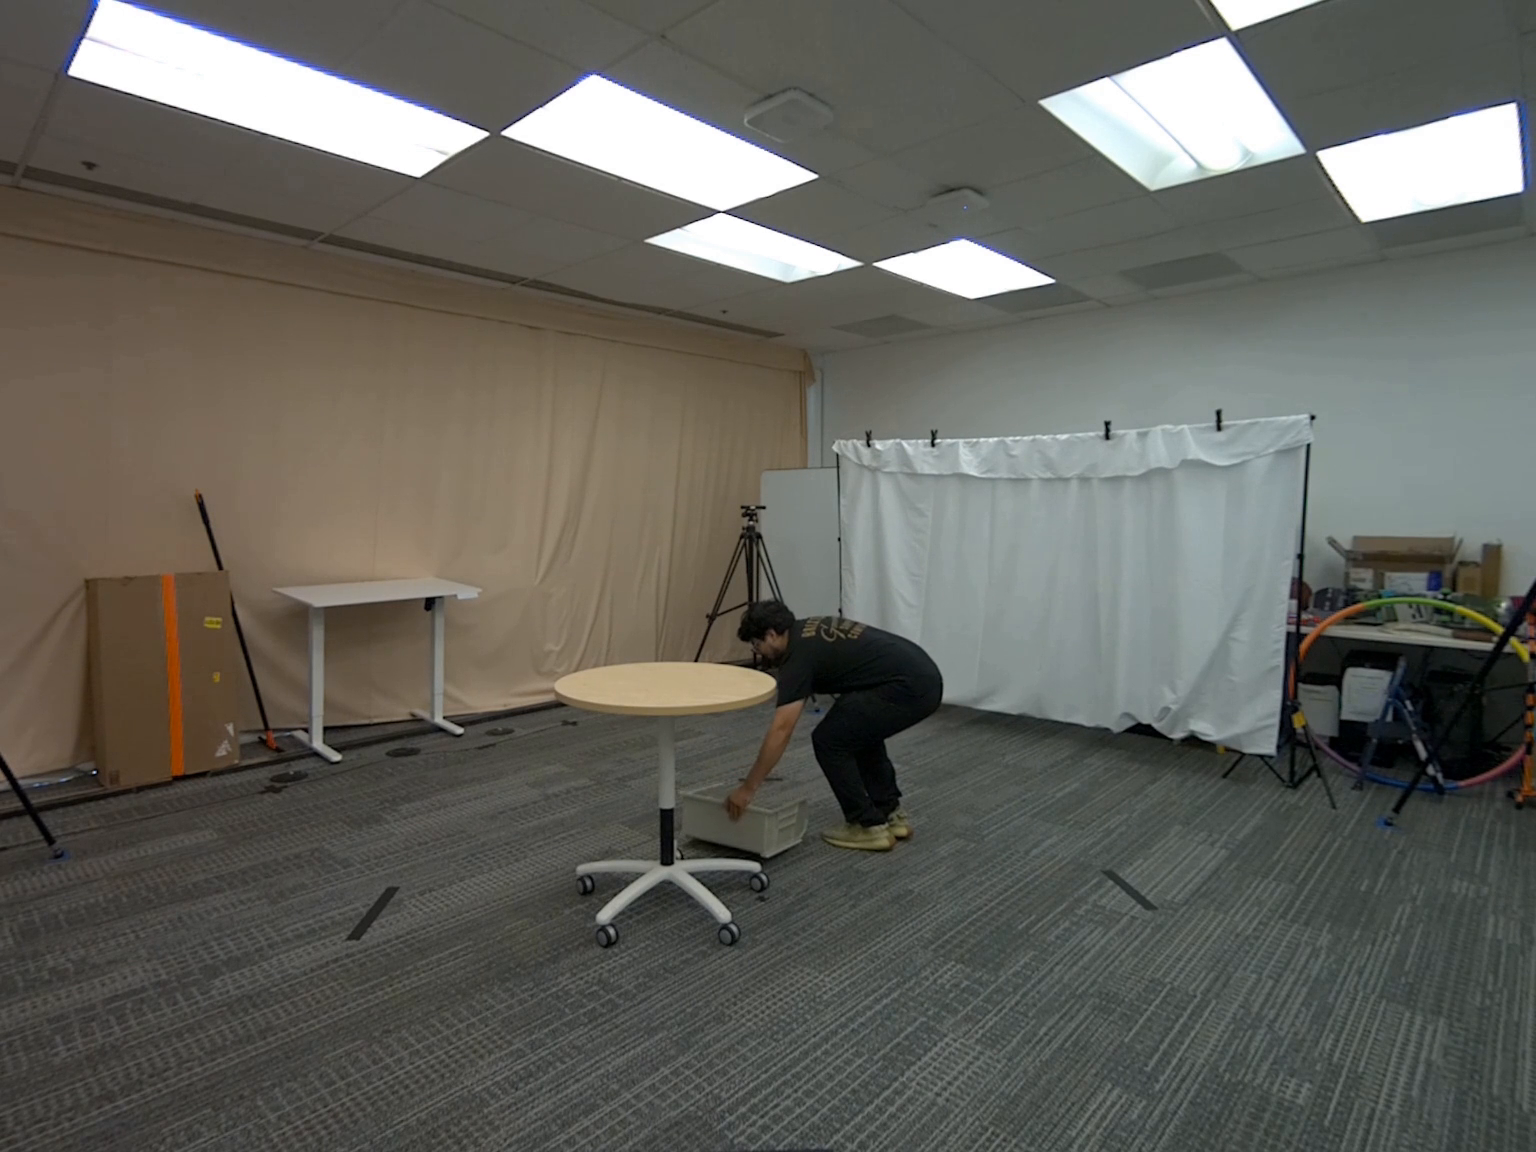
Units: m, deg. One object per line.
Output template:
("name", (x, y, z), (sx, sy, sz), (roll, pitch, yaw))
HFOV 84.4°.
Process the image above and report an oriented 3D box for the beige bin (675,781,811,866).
("beige bin", (-0.099, 1.001, 3.475), (0.434, 0.189, 0.367), (1, -2, 27))
